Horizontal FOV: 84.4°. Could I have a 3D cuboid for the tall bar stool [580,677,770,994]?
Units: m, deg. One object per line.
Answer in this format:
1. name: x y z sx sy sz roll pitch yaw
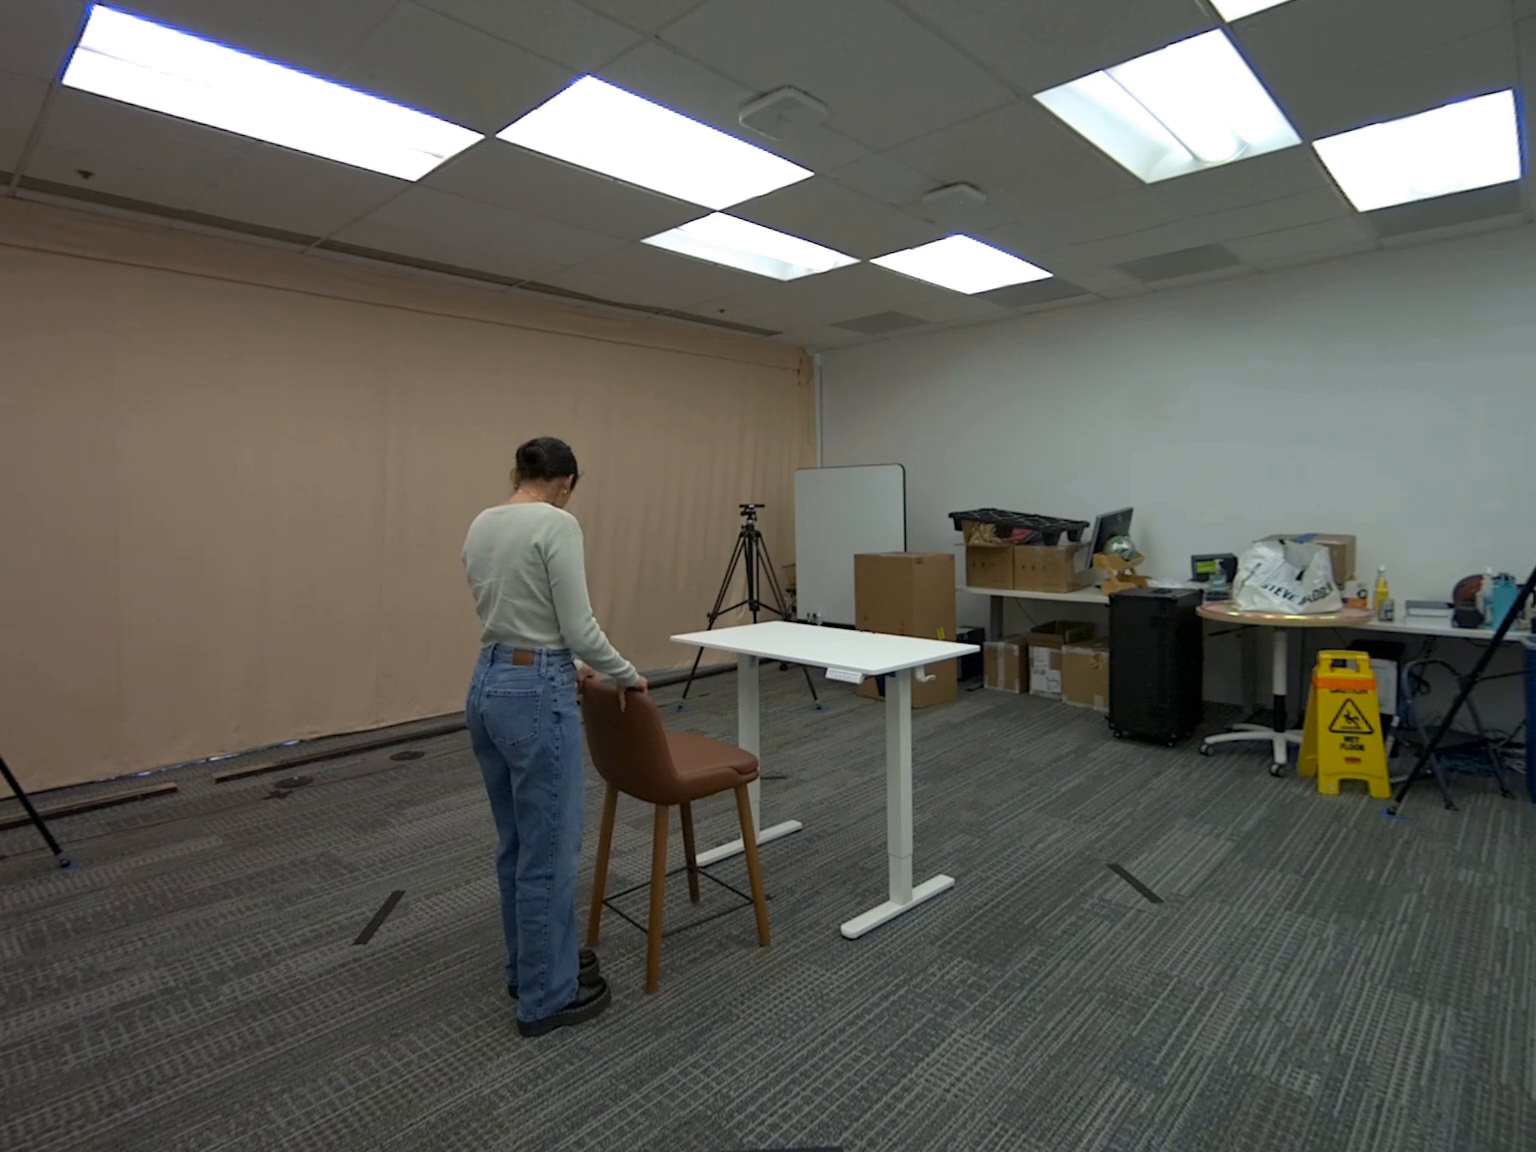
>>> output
1. tall bar stool: -0.307 0.735 2.648 0.454 0.887 0.471 -5 5 -39
